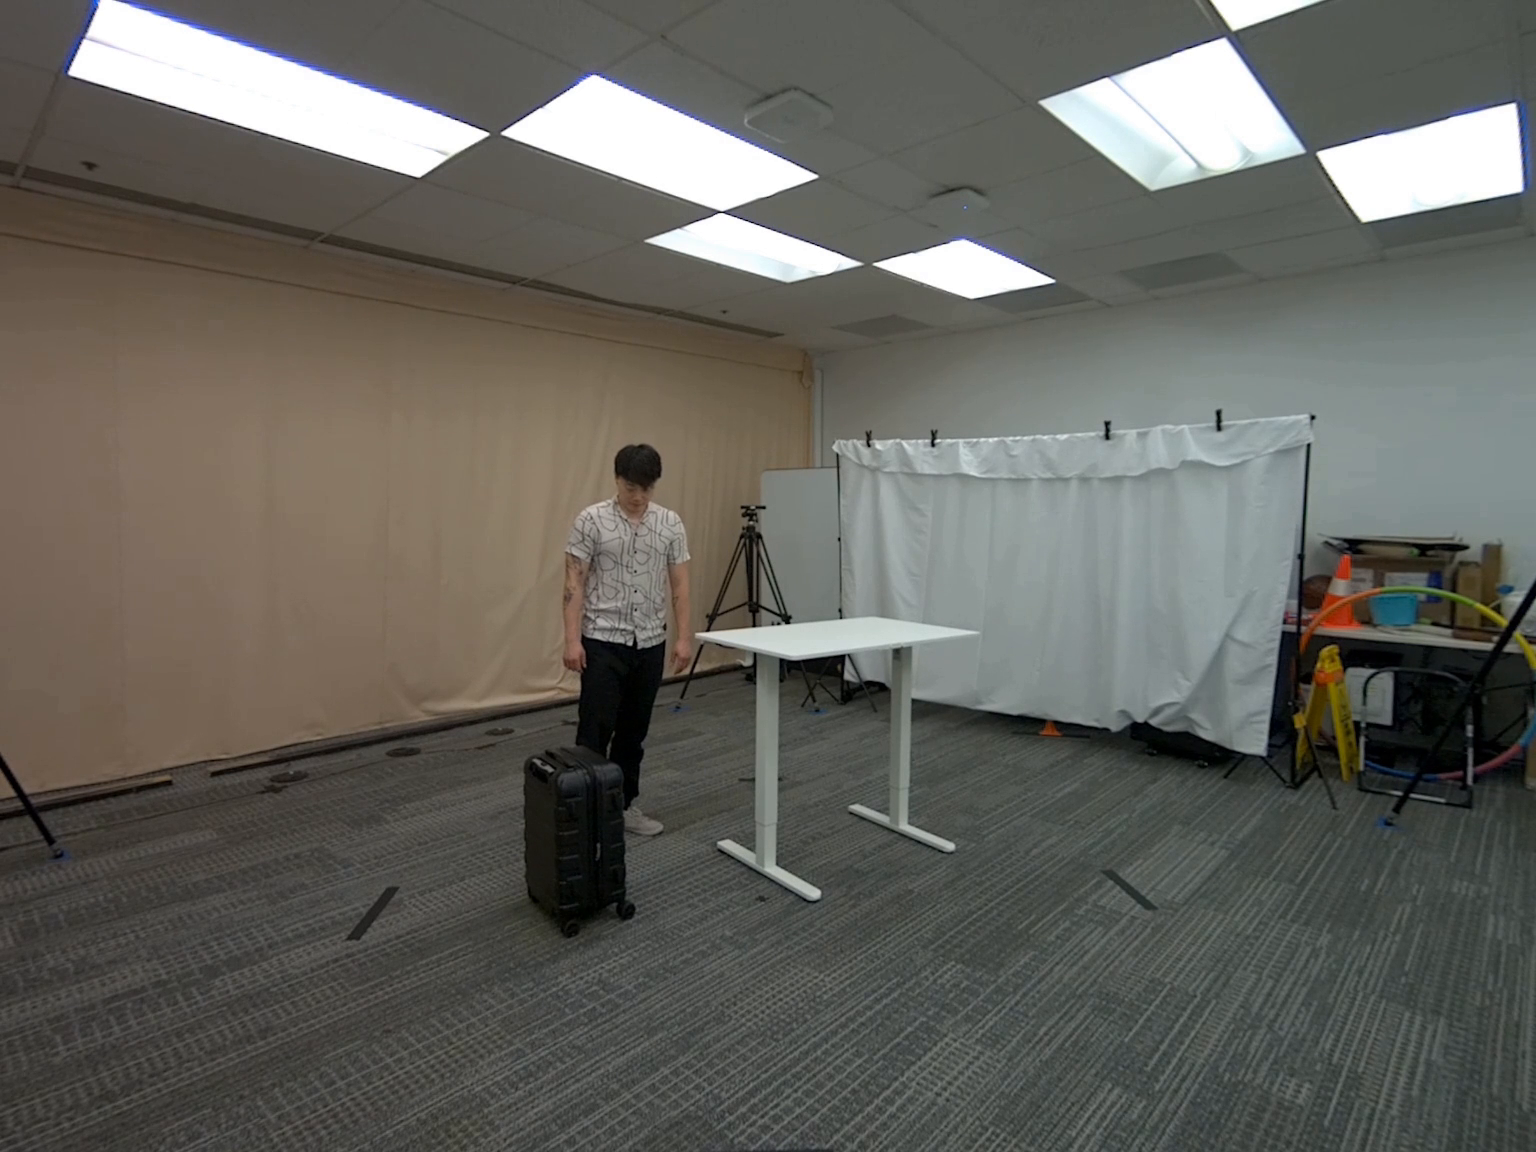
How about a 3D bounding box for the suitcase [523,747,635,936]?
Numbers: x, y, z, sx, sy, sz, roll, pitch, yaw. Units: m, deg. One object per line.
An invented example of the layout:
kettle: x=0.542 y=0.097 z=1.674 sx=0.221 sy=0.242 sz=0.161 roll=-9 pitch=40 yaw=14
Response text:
suitcase: x=-0.666 y=0.880 z=2.890 sx=0.241 sy=0.548 sz=0.387 roll=-4 pitch=5 yaw=-37
